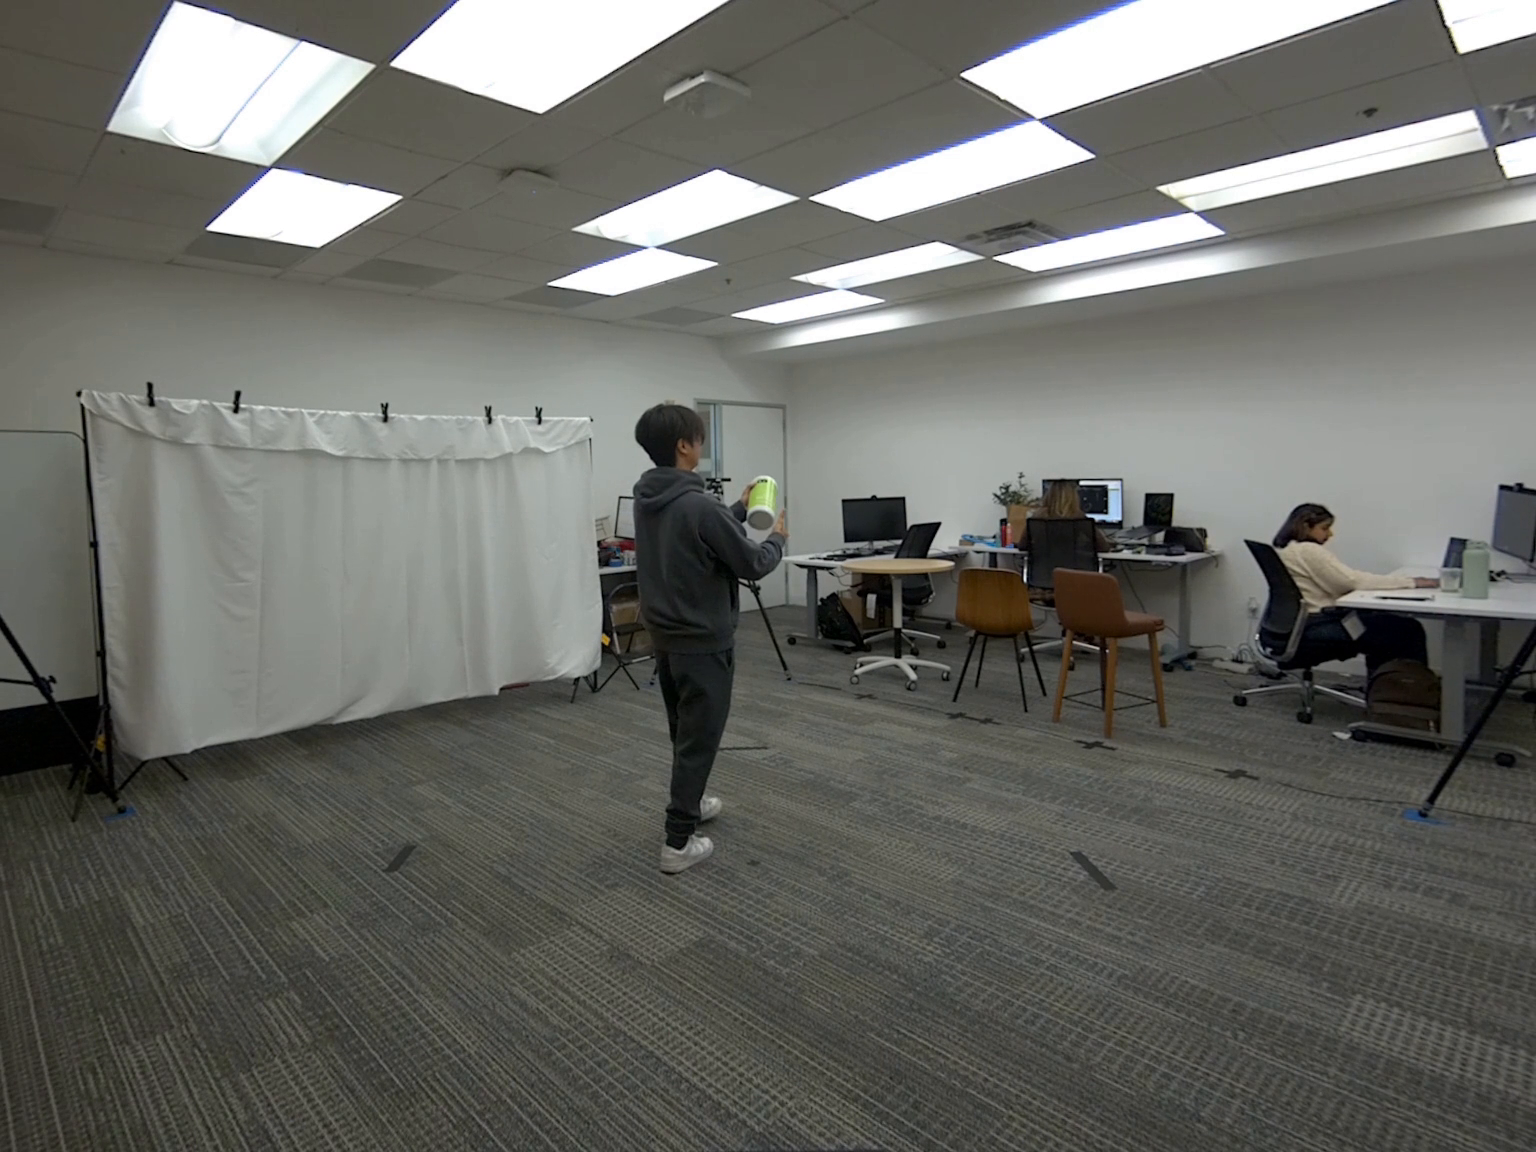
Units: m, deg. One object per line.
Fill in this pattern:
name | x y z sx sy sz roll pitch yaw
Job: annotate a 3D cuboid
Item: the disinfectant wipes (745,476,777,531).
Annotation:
disinfectant wipes | -0.016 -0.291 3.363 0.118 0.114 0.223 -1 42 3
